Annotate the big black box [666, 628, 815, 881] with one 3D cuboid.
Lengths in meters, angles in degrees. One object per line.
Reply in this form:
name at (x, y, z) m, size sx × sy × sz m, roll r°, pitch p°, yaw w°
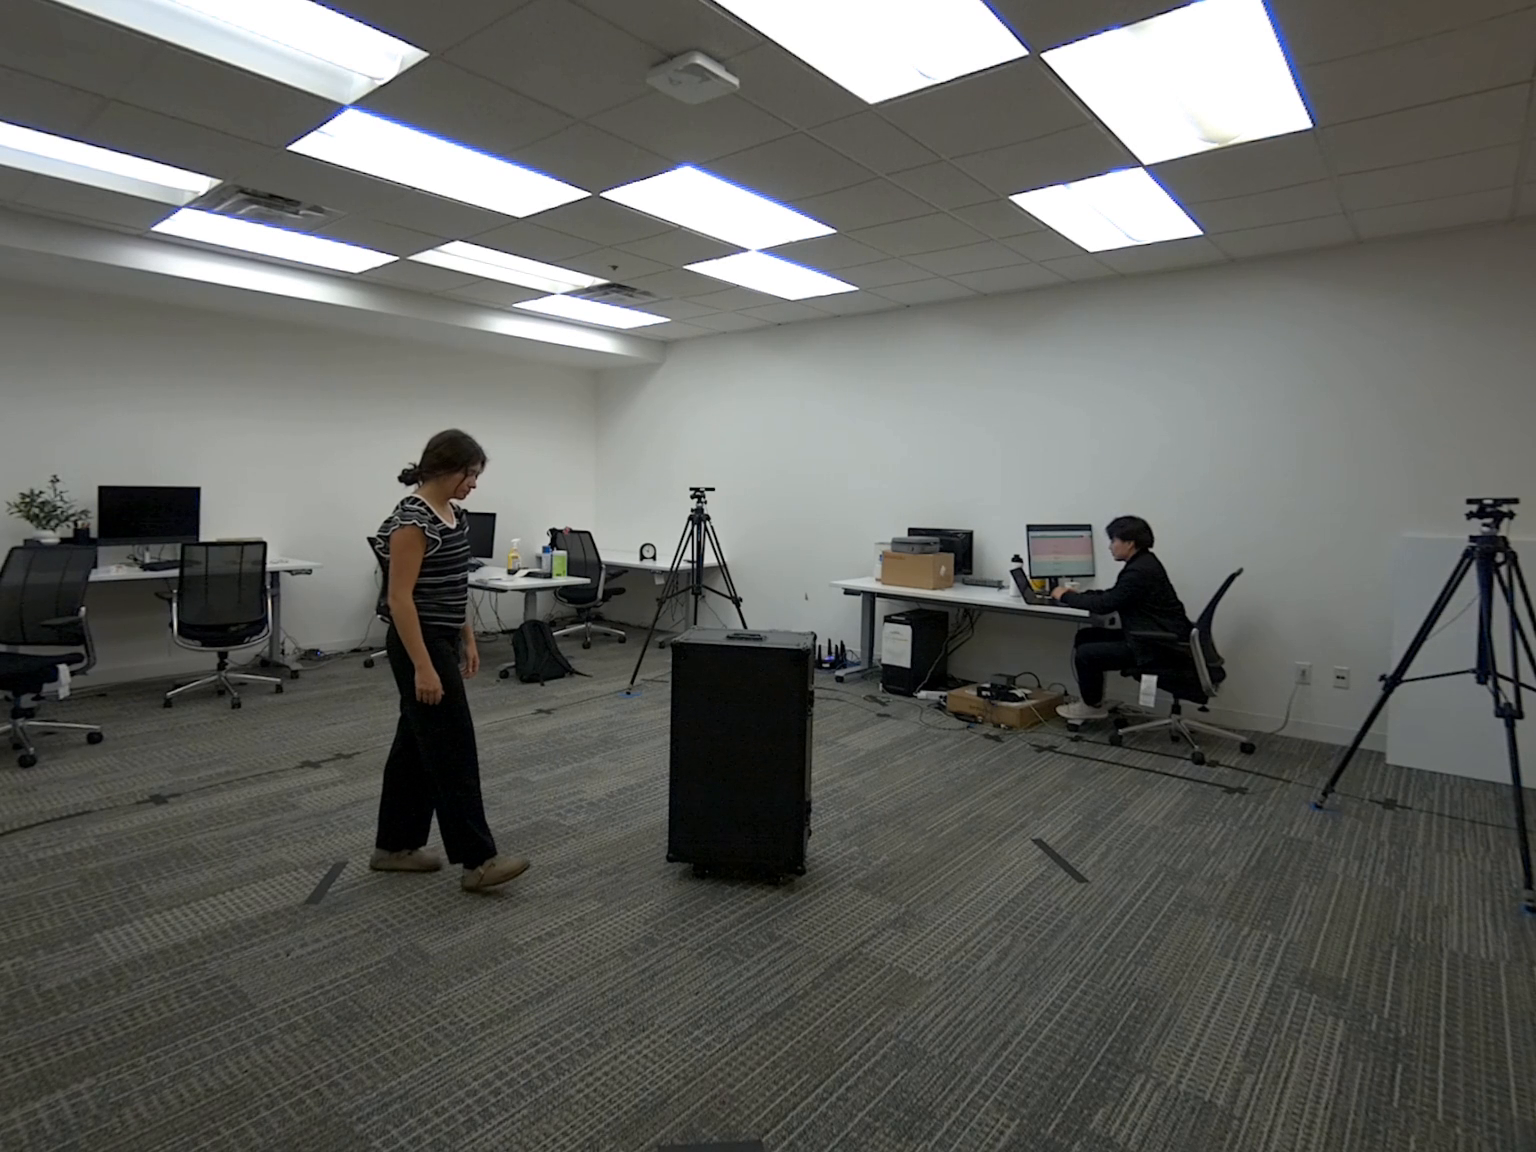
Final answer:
big black box at (-0.100, 0.645, 3.115) m, size 0.527 × 0.860 × 0.392 m, roll 1°, pitch 1°, yaw 10°
